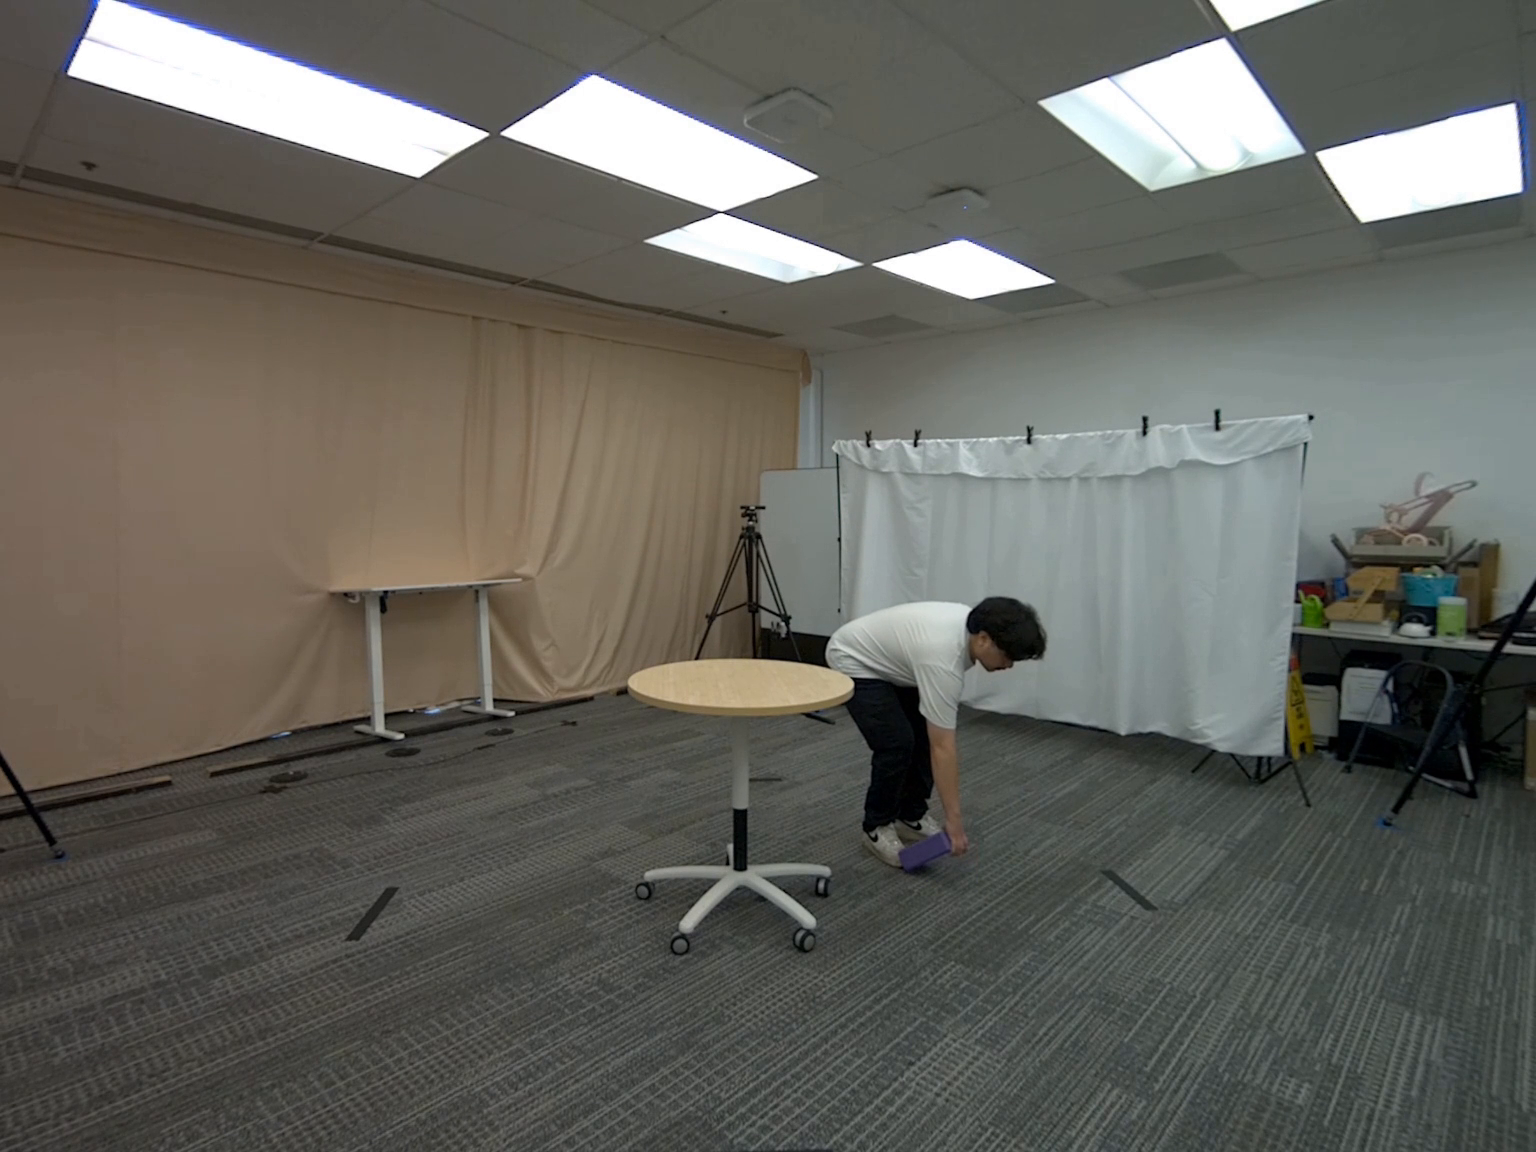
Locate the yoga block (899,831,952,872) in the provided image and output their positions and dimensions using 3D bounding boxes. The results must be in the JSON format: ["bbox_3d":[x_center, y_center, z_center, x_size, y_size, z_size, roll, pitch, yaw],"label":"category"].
[{"bbox_3d":[0.617,1.022,3.183,0.144,0.078,0.232,3,-34,-48],"label":"yoga block"}]
